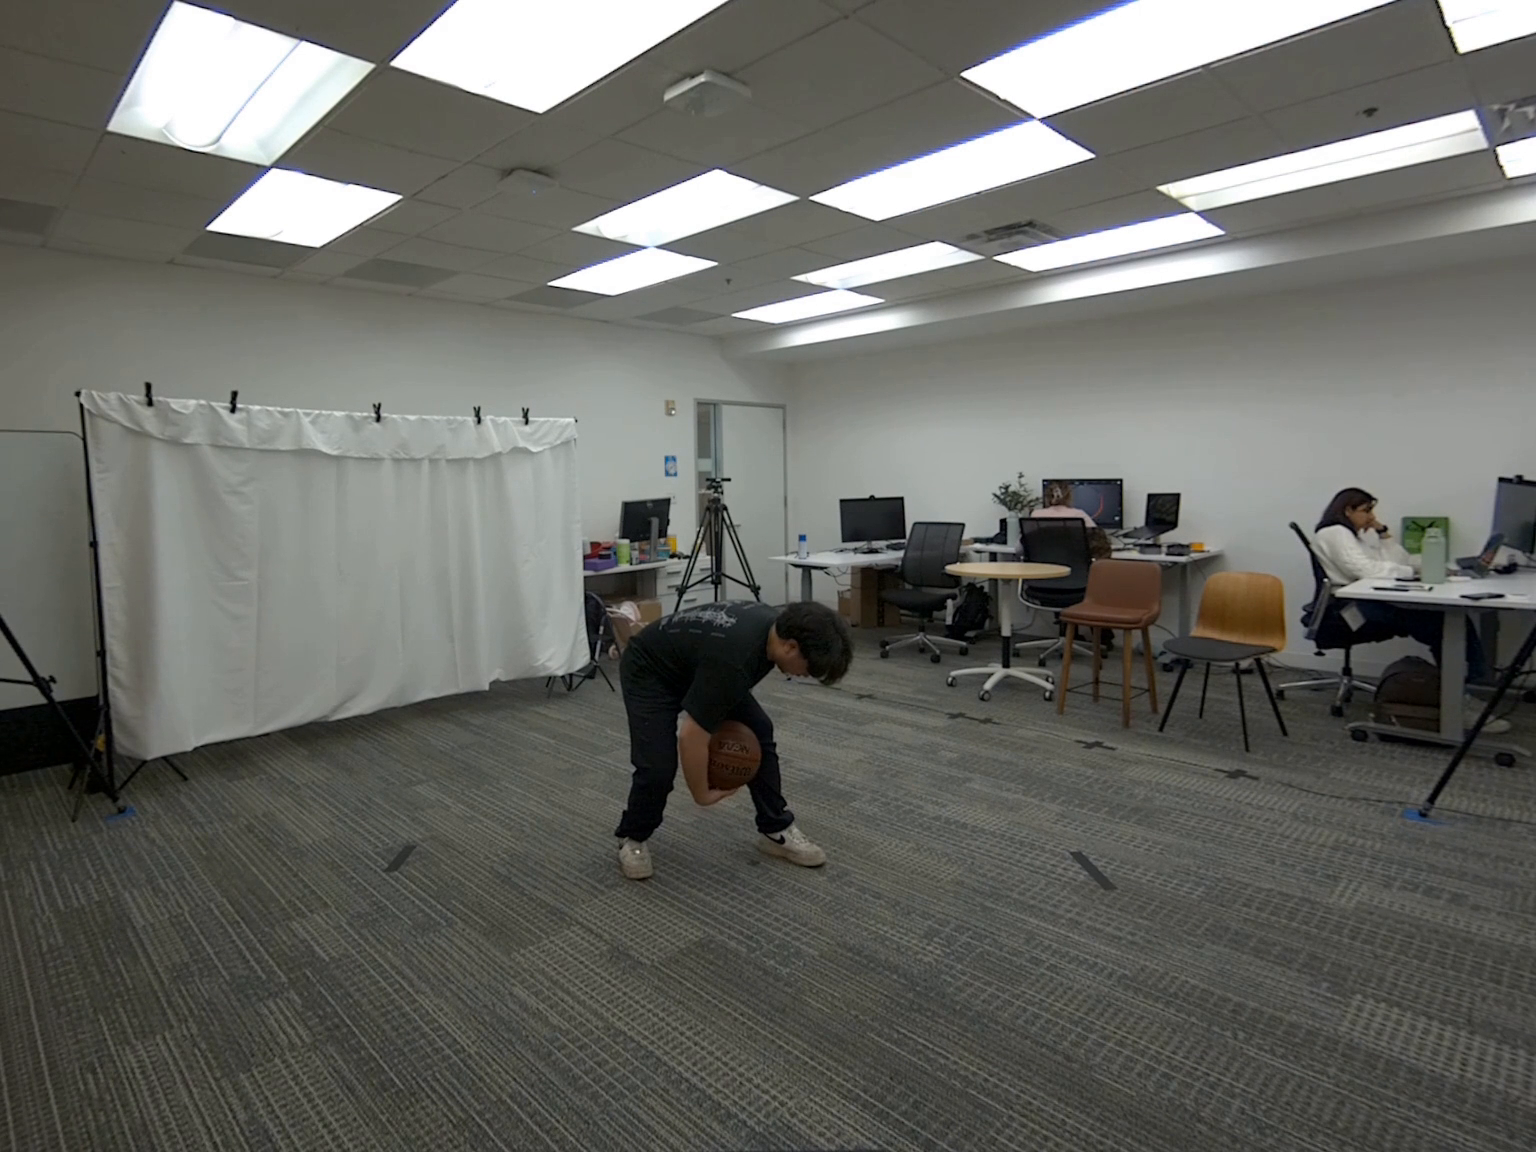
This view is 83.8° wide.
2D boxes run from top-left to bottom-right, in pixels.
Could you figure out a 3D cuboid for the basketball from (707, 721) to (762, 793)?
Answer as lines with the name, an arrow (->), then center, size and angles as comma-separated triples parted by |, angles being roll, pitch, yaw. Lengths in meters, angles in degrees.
basketball -> -0.159, 0.637, 3.021 | 0.236, 0.235, 0.237 | -1, 5, -2
